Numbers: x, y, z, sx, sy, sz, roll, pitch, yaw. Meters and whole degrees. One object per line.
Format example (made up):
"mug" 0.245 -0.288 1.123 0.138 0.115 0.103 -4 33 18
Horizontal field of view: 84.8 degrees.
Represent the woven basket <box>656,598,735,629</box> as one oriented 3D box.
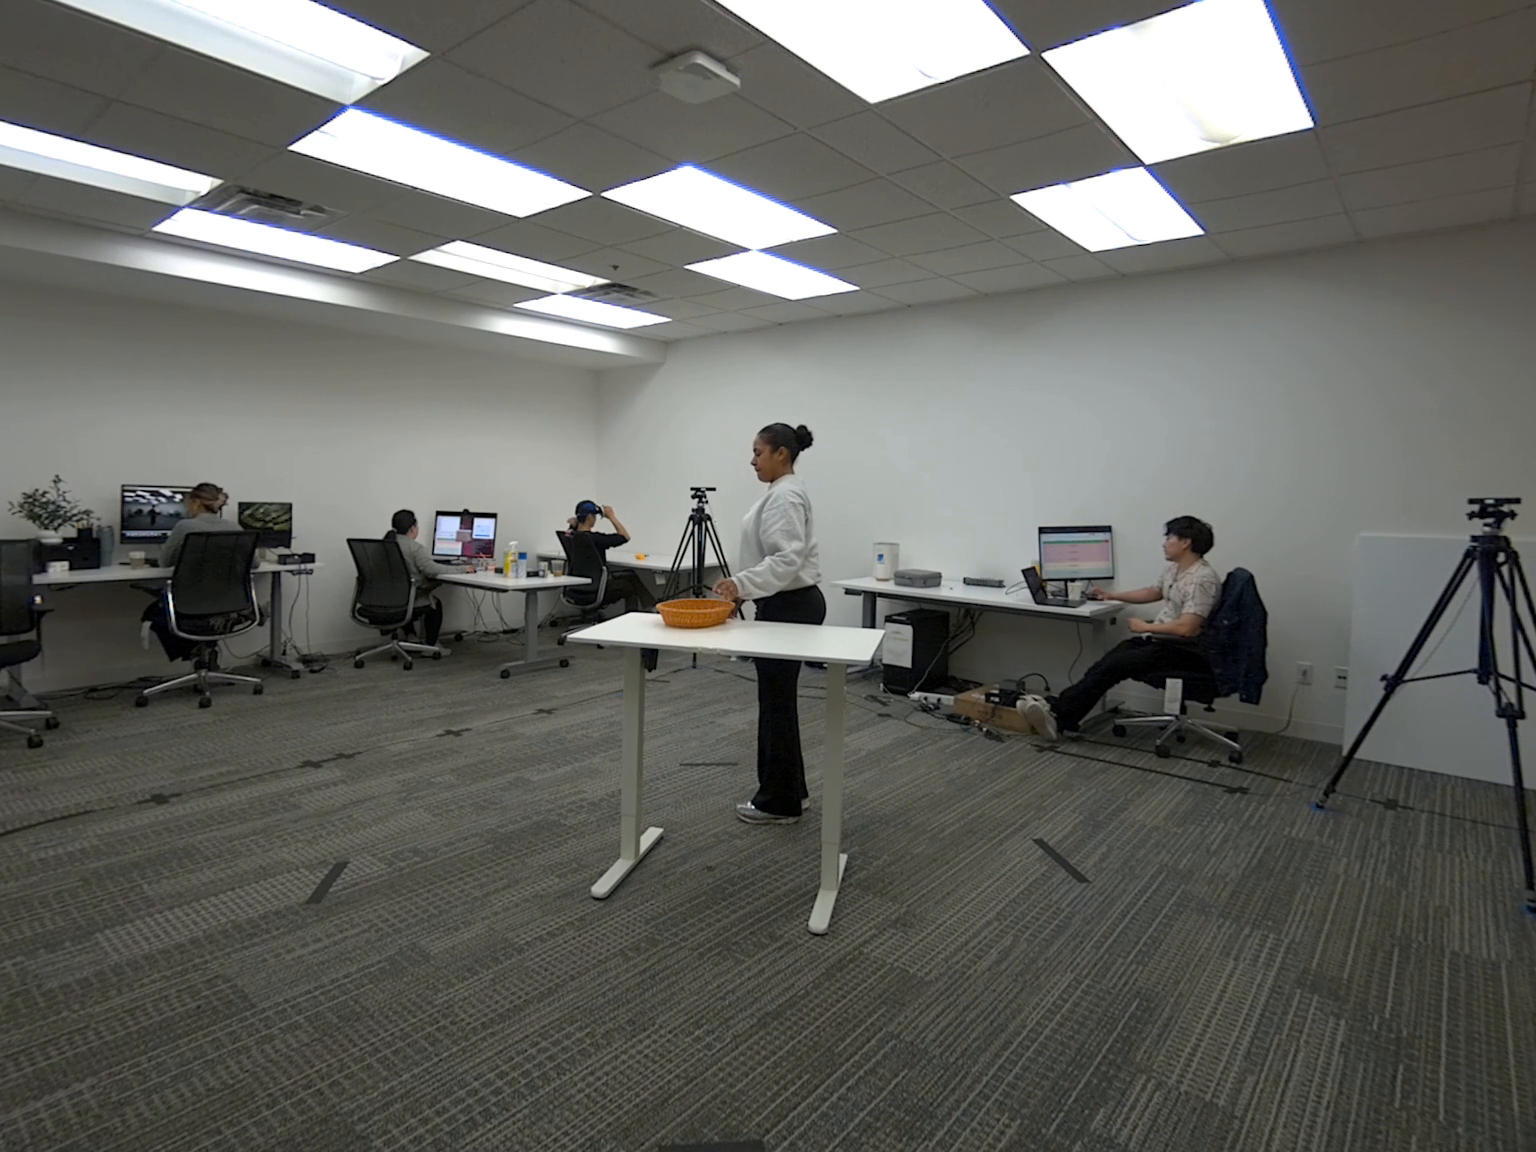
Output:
"woven basket" -0.277 0.144 3.186 0.260 0.073 0.341 4 6 32
